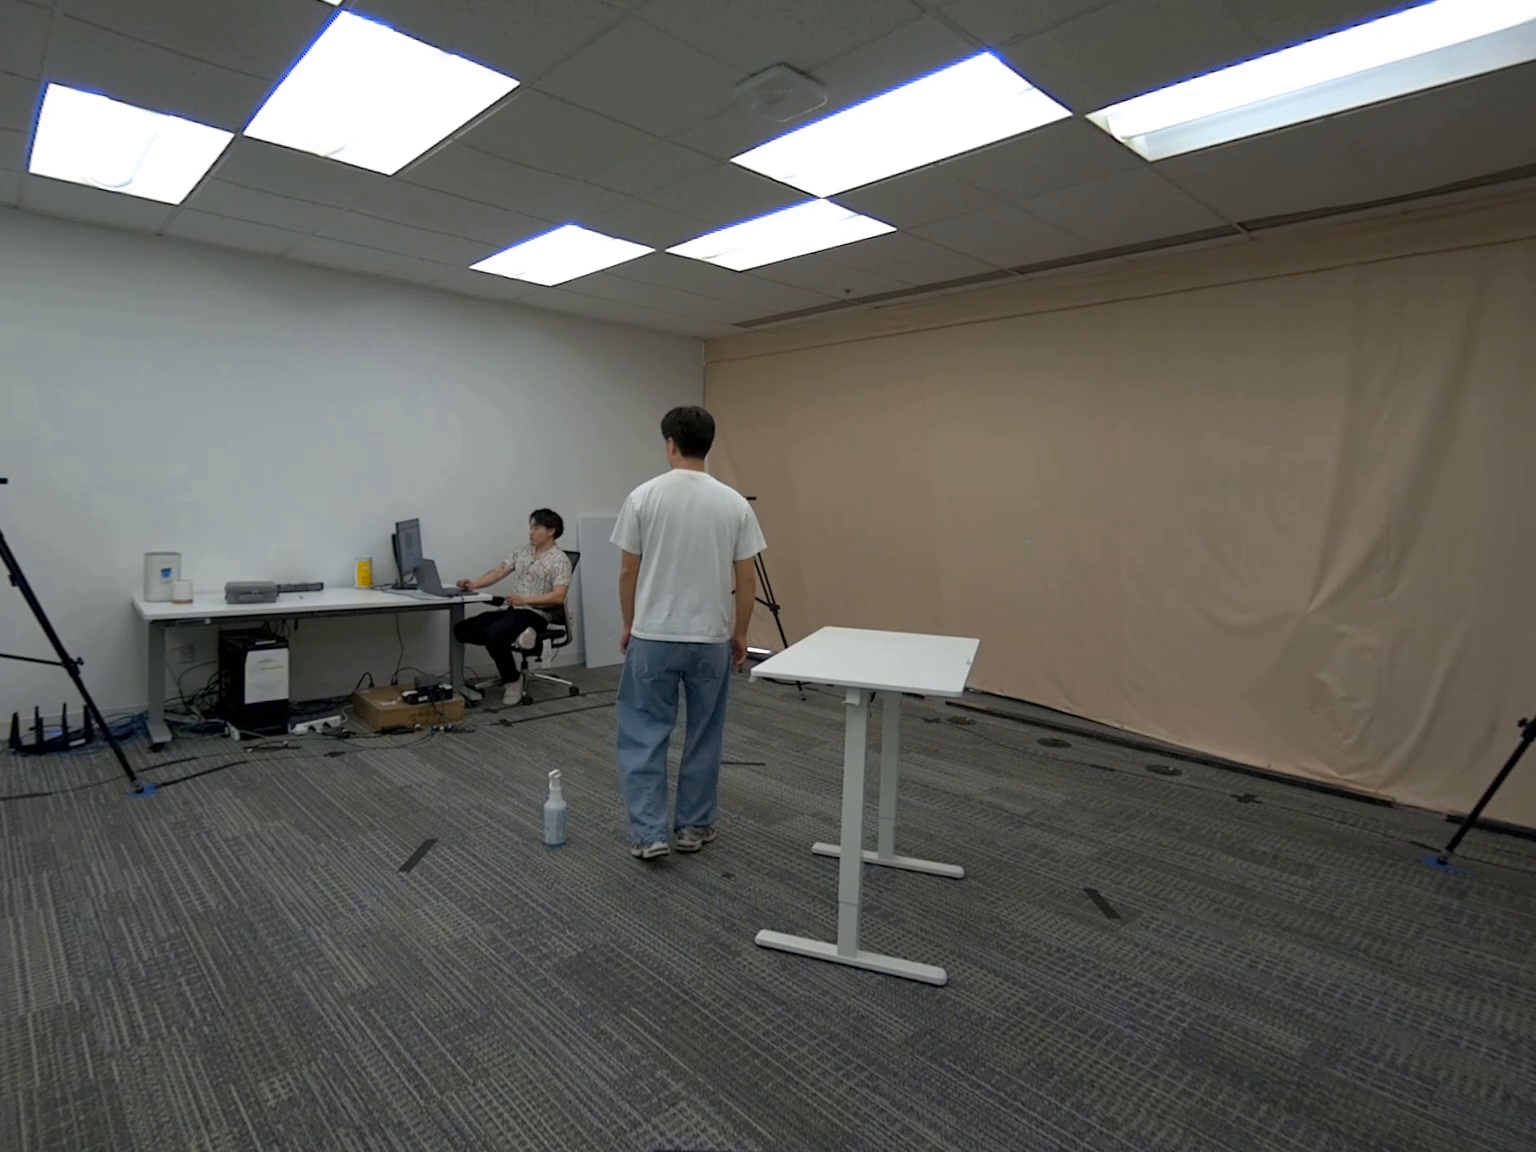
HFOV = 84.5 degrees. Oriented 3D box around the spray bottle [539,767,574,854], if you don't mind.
[{"bbox_3d":[-0.841,0.923,3.349,0.089,0.296,0.088,6,6,36],"label":"spray bottle"}]
